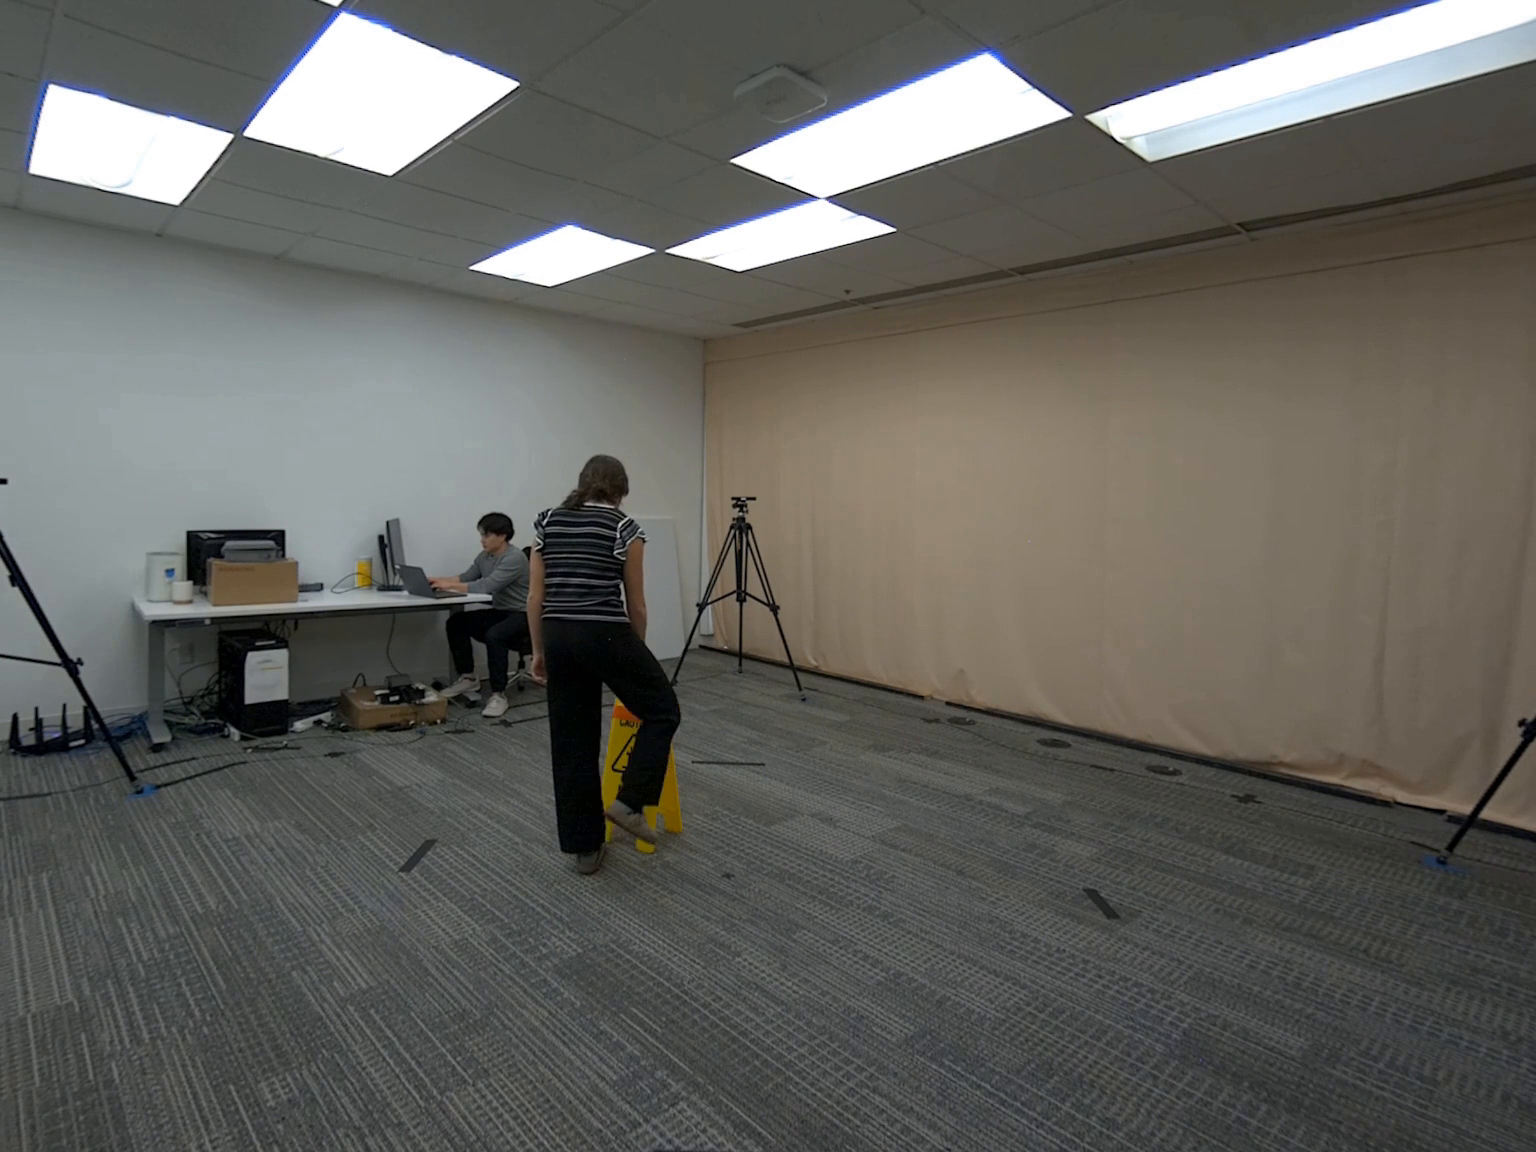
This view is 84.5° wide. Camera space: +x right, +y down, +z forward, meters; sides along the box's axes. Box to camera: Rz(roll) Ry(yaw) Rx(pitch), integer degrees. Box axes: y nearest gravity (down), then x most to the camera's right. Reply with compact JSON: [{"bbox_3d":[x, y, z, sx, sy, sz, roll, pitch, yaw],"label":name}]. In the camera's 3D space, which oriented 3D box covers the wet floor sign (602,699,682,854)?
[{"bbox_3d":[-0.531,0.747,3.439,0.287,0.645,0.285,4,3,23],"label":"wet floor sign"}]
